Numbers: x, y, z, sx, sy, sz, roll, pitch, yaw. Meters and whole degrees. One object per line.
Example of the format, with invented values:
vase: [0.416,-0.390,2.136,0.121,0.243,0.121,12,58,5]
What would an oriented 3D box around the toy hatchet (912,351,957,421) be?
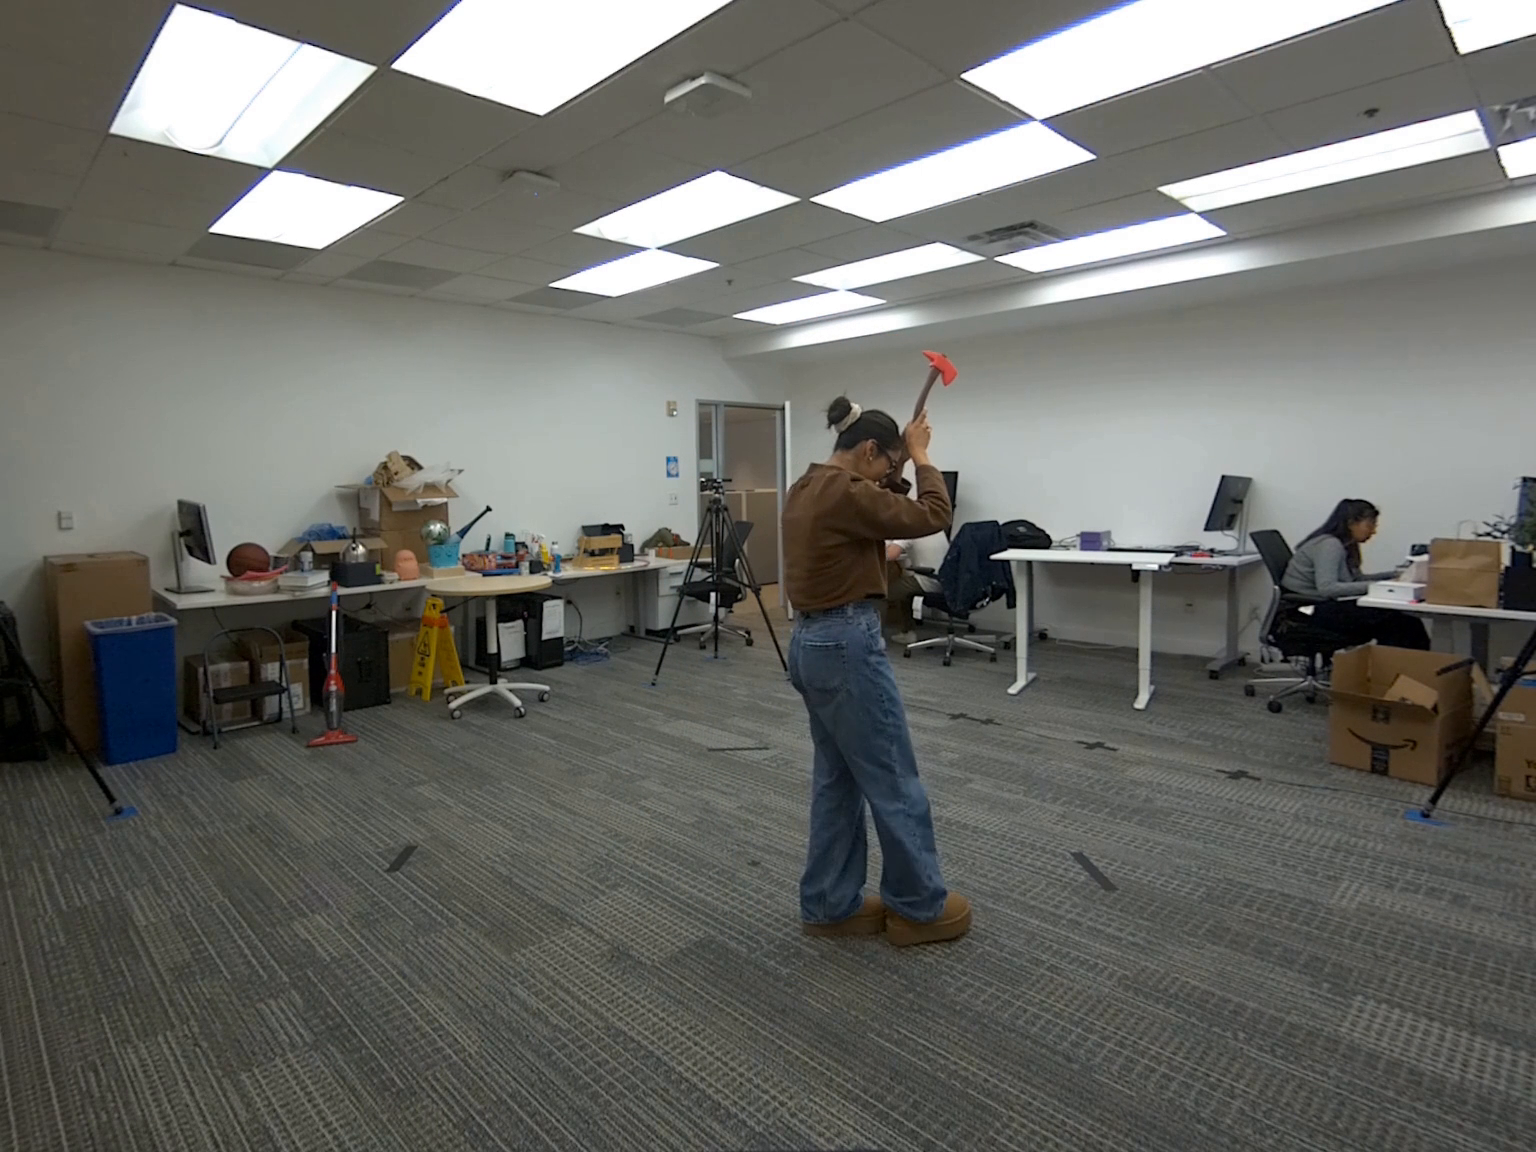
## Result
toy hatchet: [0.525,-0.563,2.650,0.128,0.271,0.030,11,-4,-21]
